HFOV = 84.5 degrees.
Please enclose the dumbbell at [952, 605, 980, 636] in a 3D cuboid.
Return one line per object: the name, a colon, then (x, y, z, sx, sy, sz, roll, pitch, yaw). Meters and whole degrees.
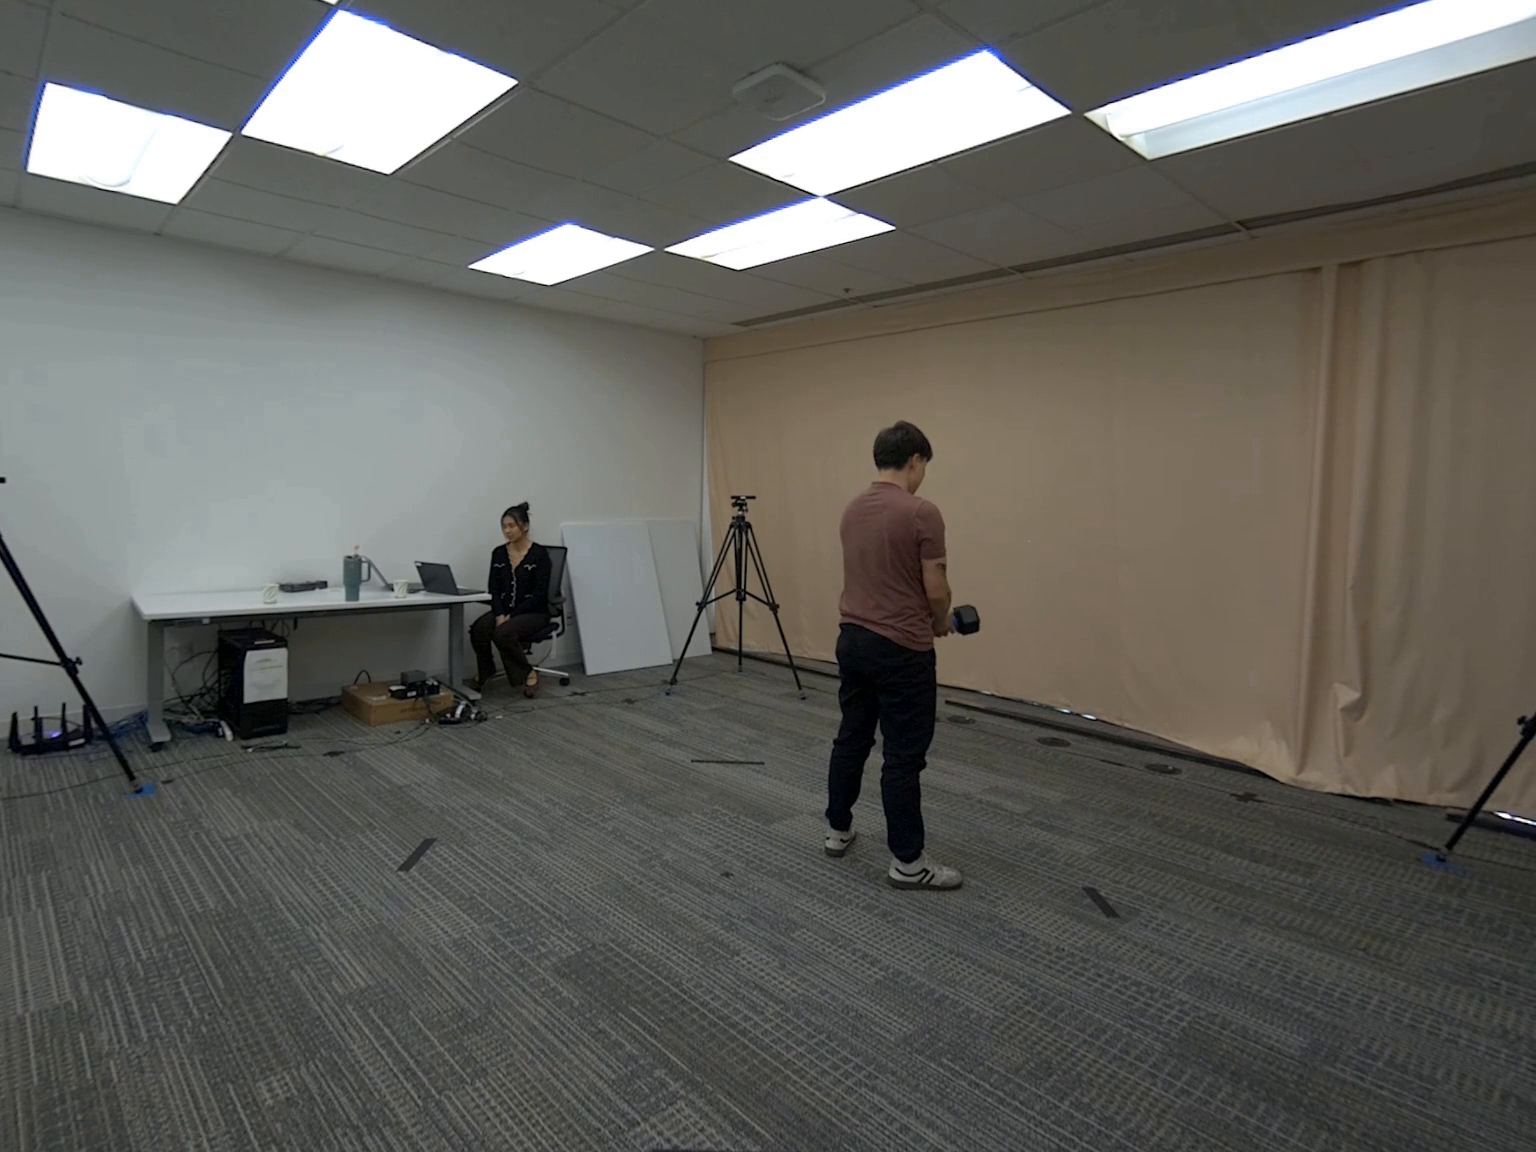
dumbbell: (0.670, 0.193, 3.347, 0.292, 0.108, 0.124, -12, 8, -6)
